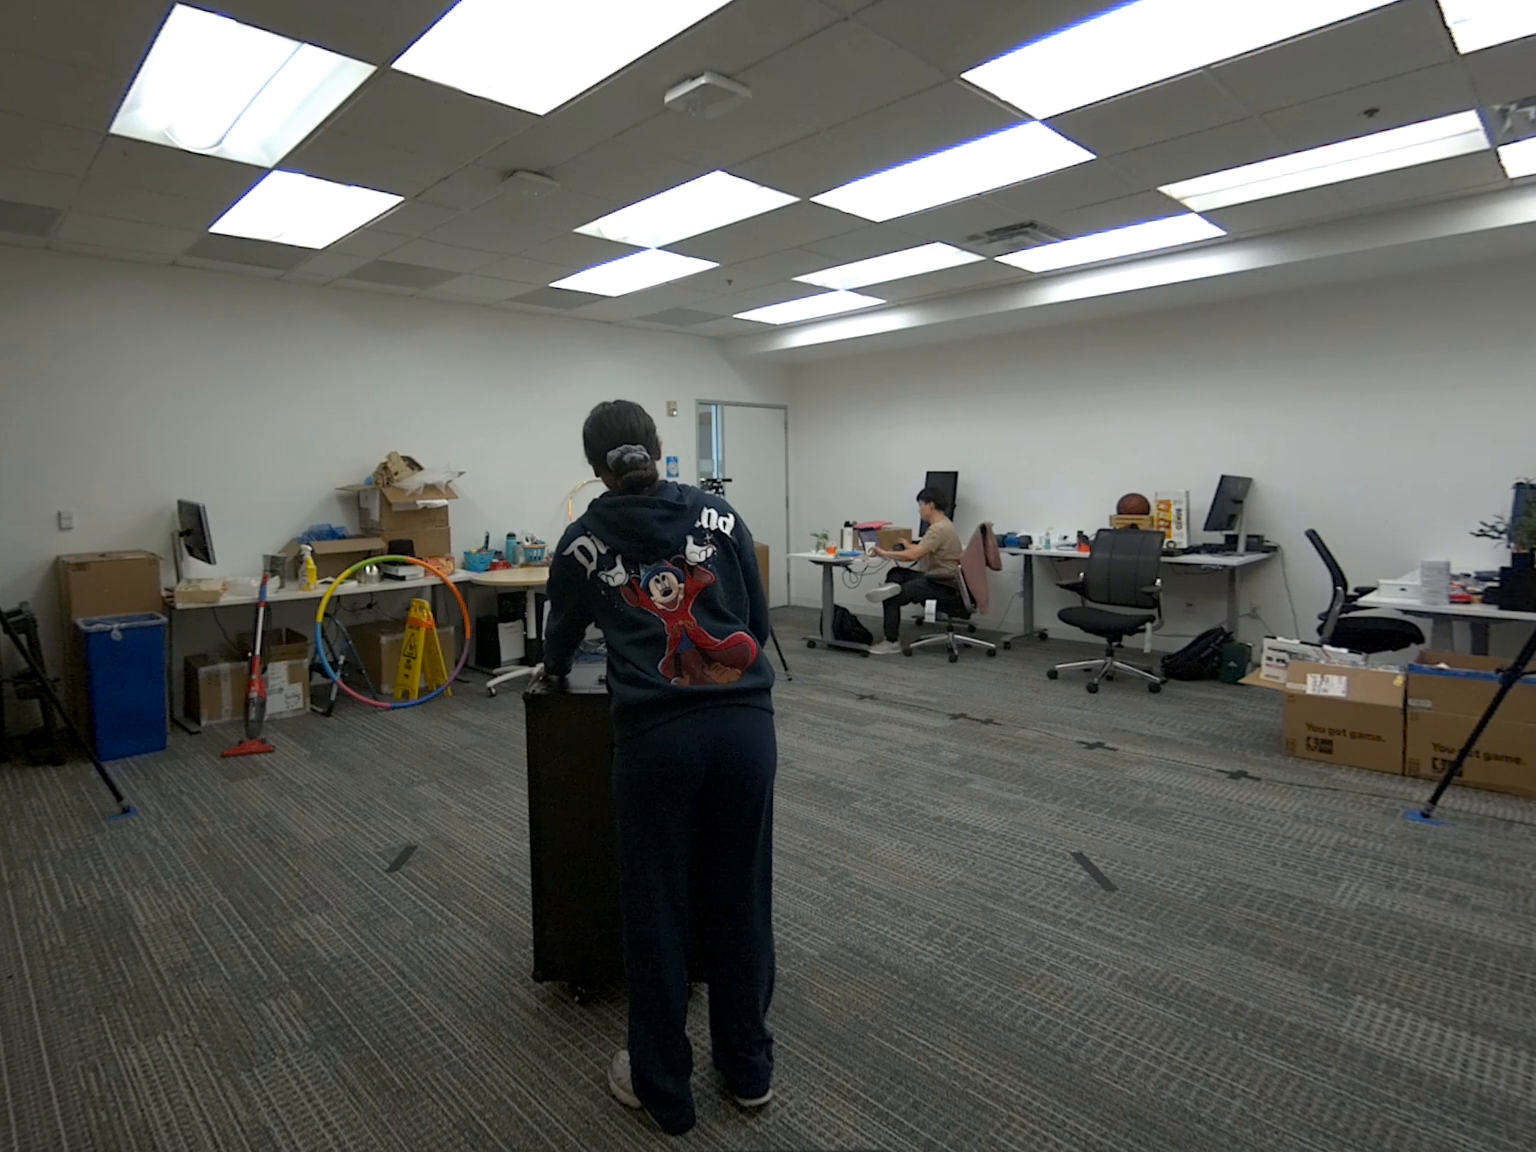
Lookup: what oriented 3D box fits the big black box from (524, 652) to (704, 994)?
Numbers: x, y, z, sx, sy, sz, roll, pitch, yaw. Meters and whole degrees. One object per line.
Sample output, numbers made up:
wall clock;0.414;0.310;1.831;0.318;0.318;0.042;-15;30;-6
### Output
big black box;-0.396;0.706;2.426;0.522;0.859;0.396;-1;3;2
